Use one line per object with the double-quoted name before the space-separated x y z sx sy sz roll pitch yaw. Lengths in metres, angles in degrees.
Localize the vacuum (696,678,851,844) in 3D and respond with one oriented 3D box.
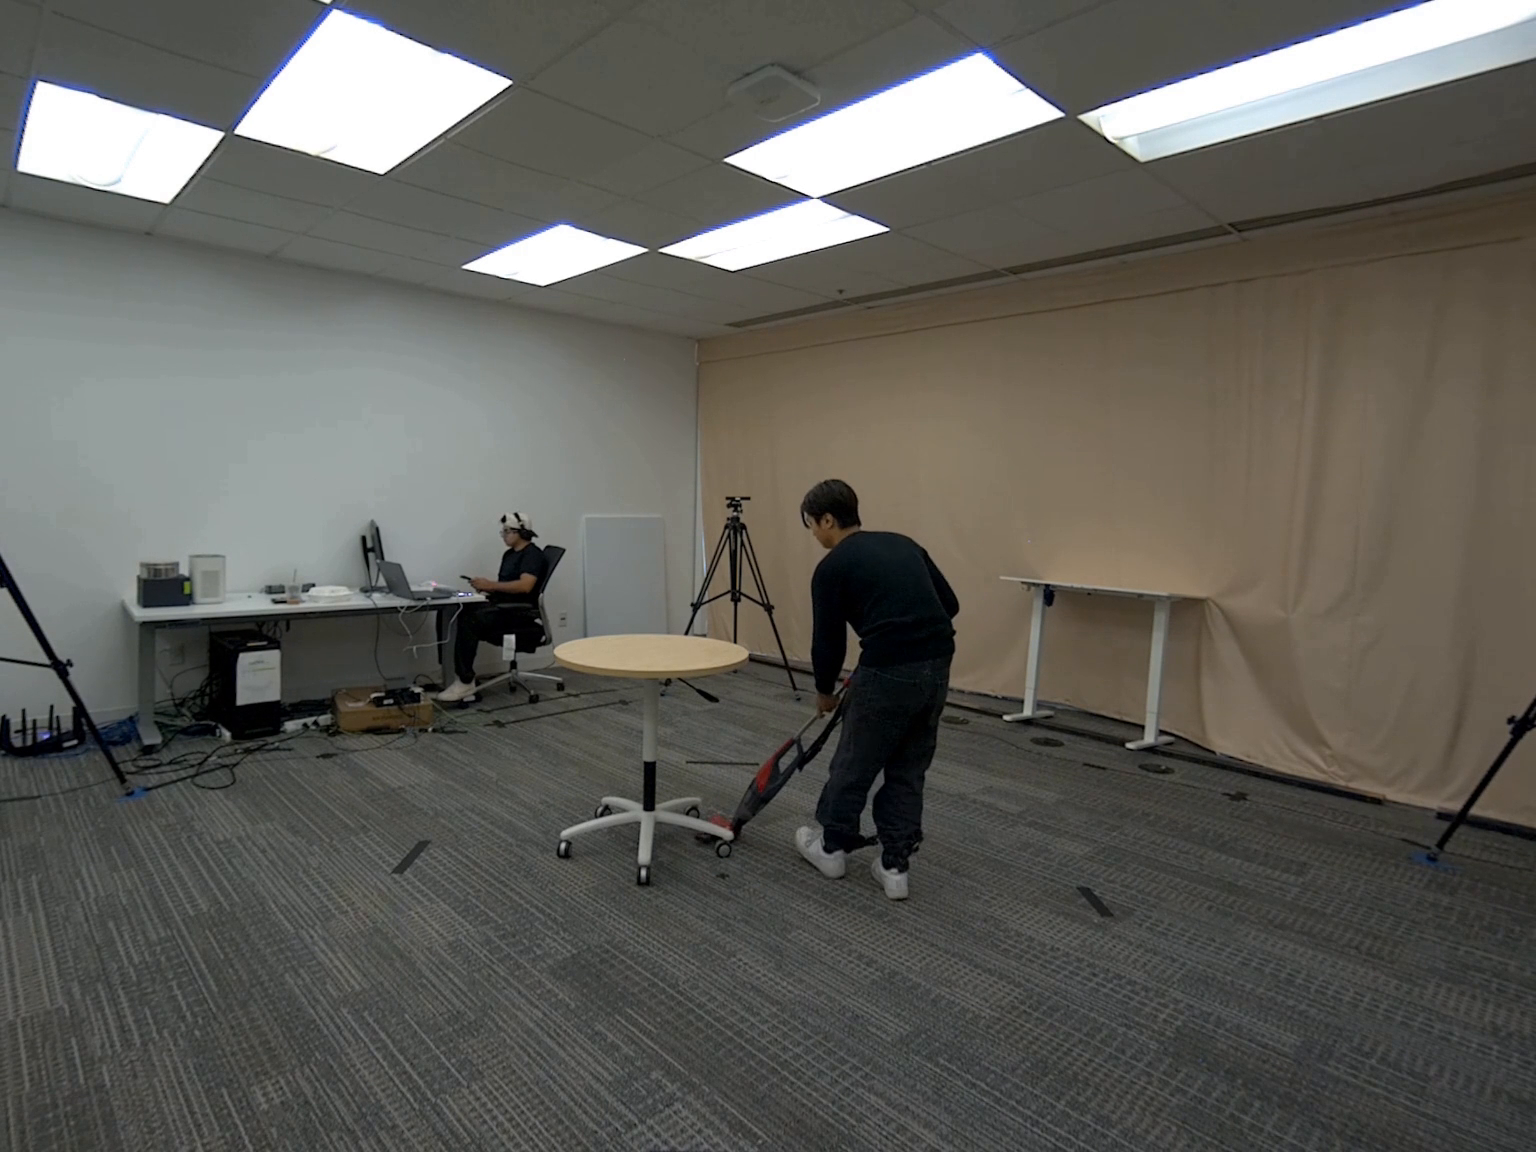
"vacuum" 0.140 0.665 3.348 0.147 1.049 0.247 46 14 19
